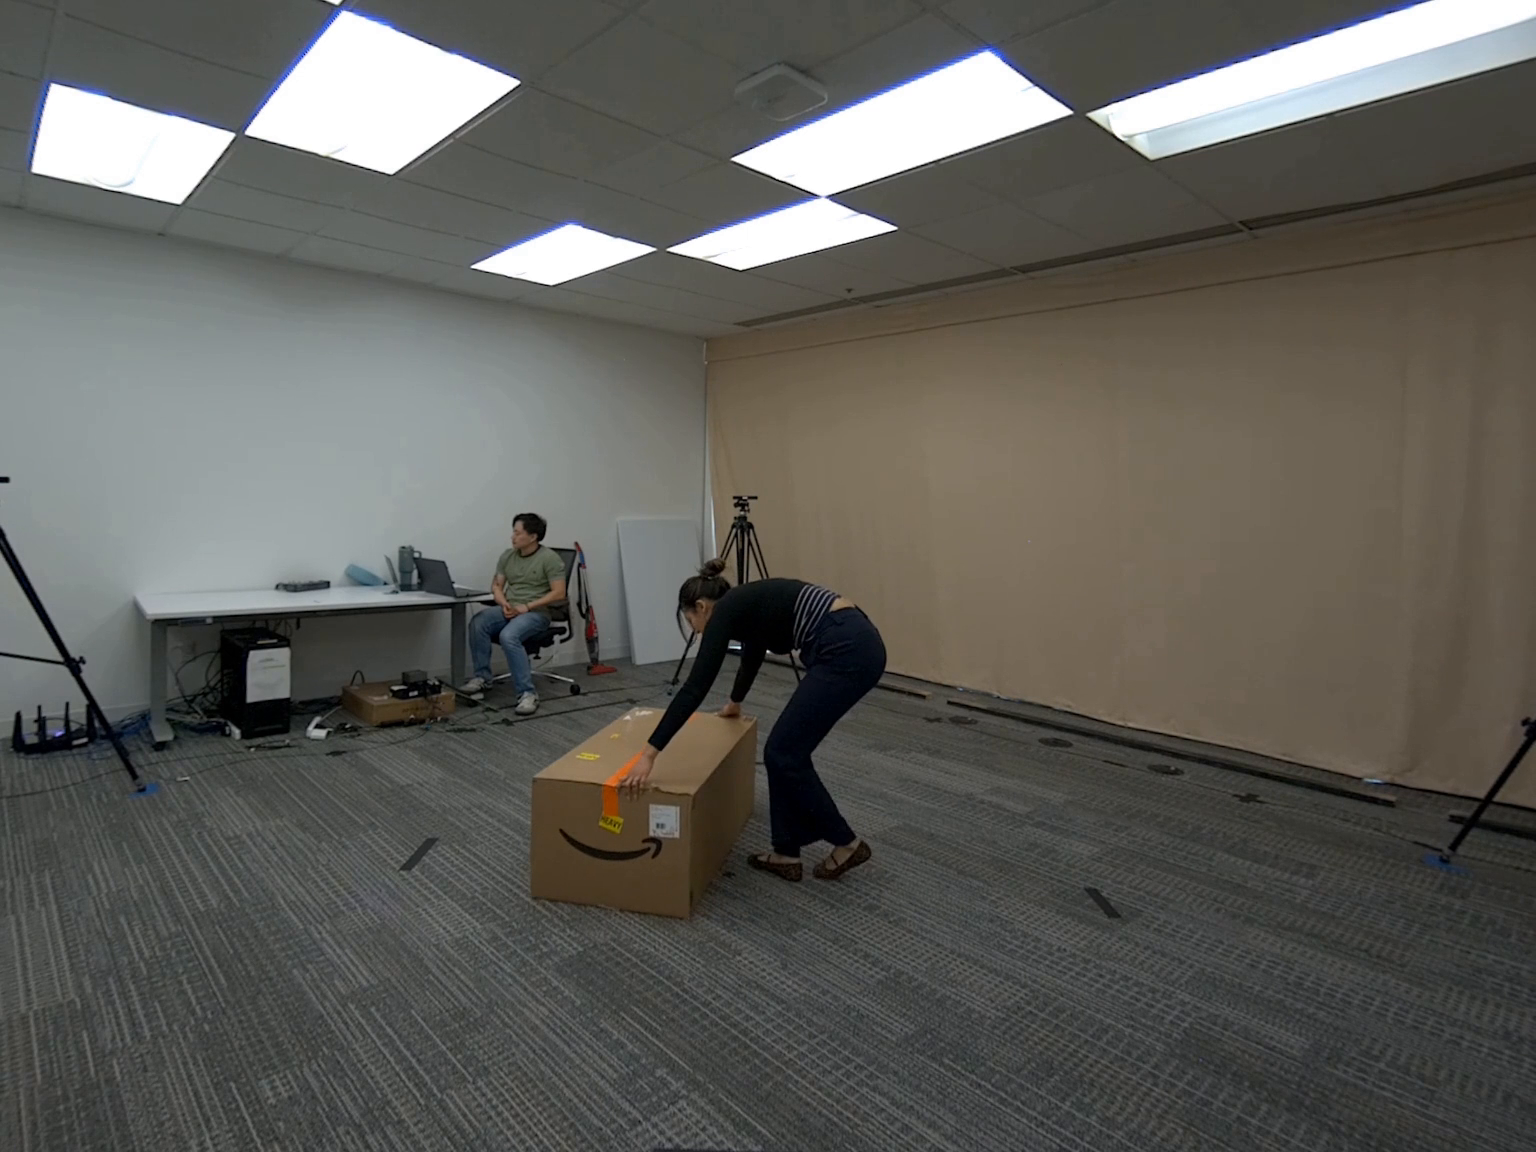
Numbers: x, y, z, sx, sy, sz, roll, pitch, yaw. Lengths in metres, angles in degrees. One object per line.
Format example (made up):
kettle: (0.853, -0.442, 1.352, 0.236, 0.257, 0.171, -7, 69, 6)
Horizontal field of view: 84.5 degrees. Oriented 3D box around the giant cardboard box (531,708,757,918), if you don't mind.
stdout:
giant cardboard box: (-0.436, 0.863, 3.307, 0.583, 0.425, 1.019, 2, 5, 11)
